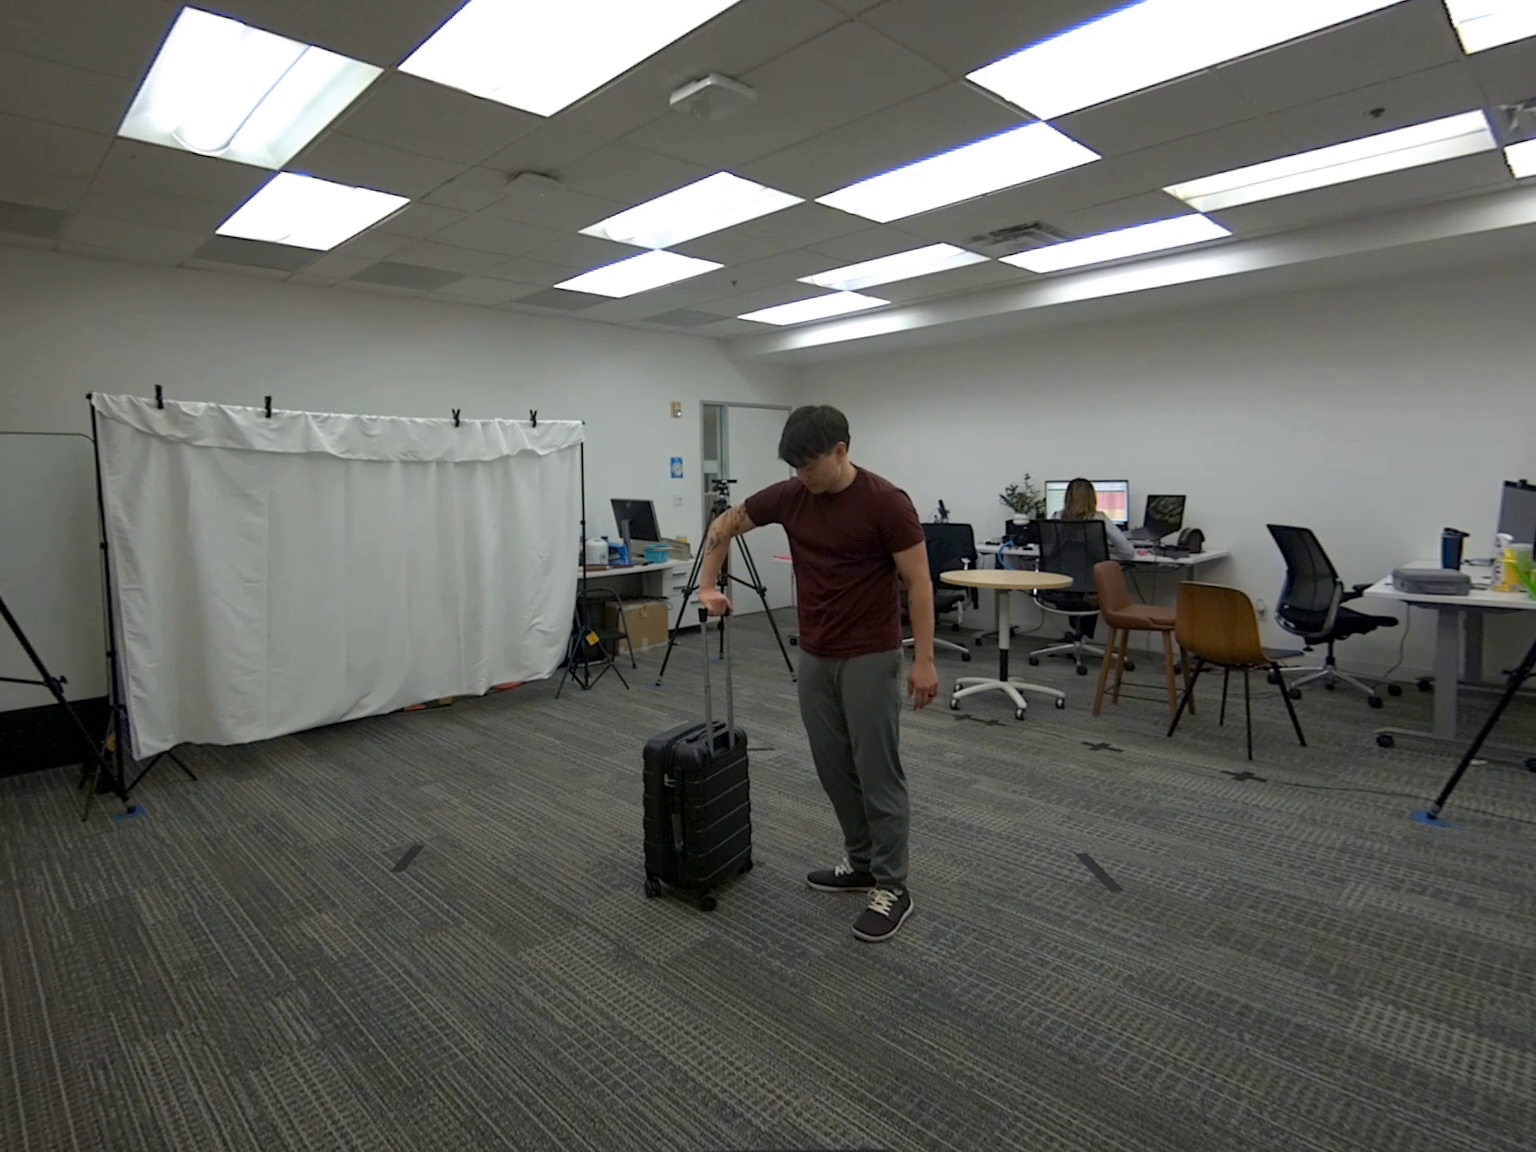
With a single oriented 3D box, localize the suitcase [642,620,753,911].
[{"bbox_3d":[-0.254,0.595,2.940,0.264,0.975,0.376,-2,5,33],"label":"suitcase"}]
